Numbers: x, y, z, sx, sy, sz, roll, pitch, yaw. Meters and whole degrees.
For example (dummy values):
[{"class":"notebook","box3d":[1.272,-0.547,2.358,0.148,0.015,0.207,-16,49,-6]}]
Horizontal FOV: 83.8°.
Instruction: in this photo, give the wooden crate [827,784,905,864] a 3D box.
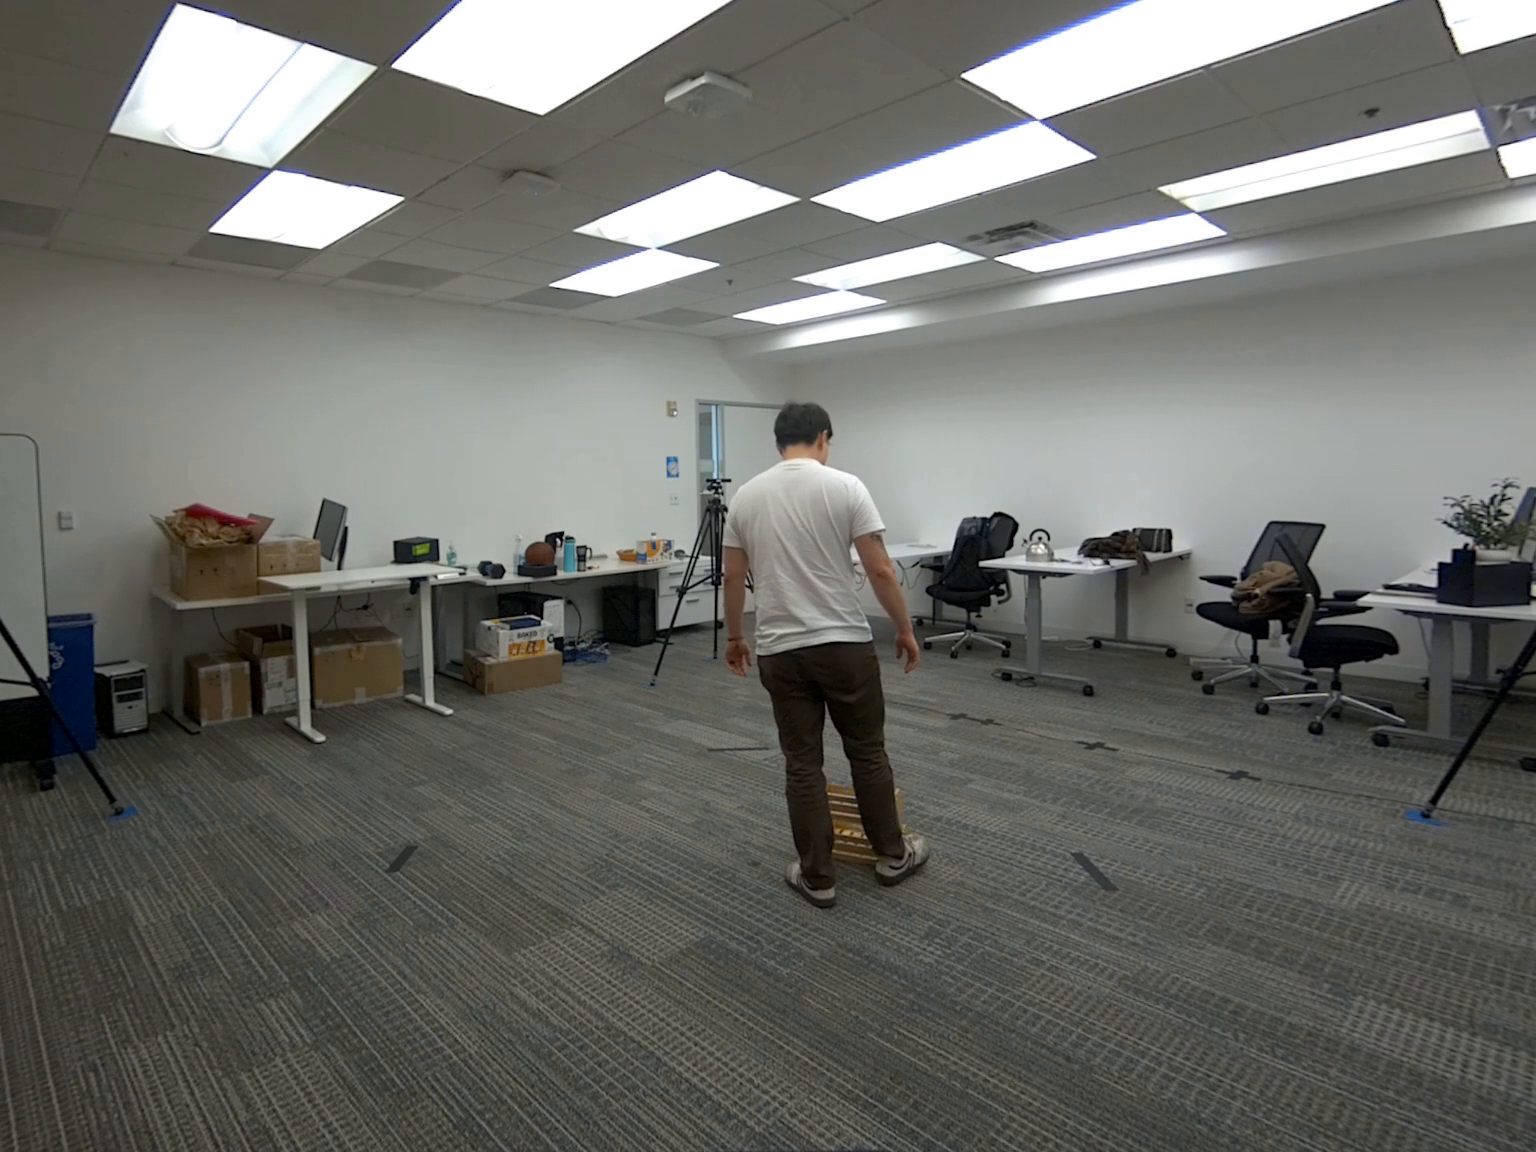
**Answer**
[{"class":"wooden crate","box3d":[0.352,0.899,3.185,0.332,0.272,0.296,1,6,25]}]
